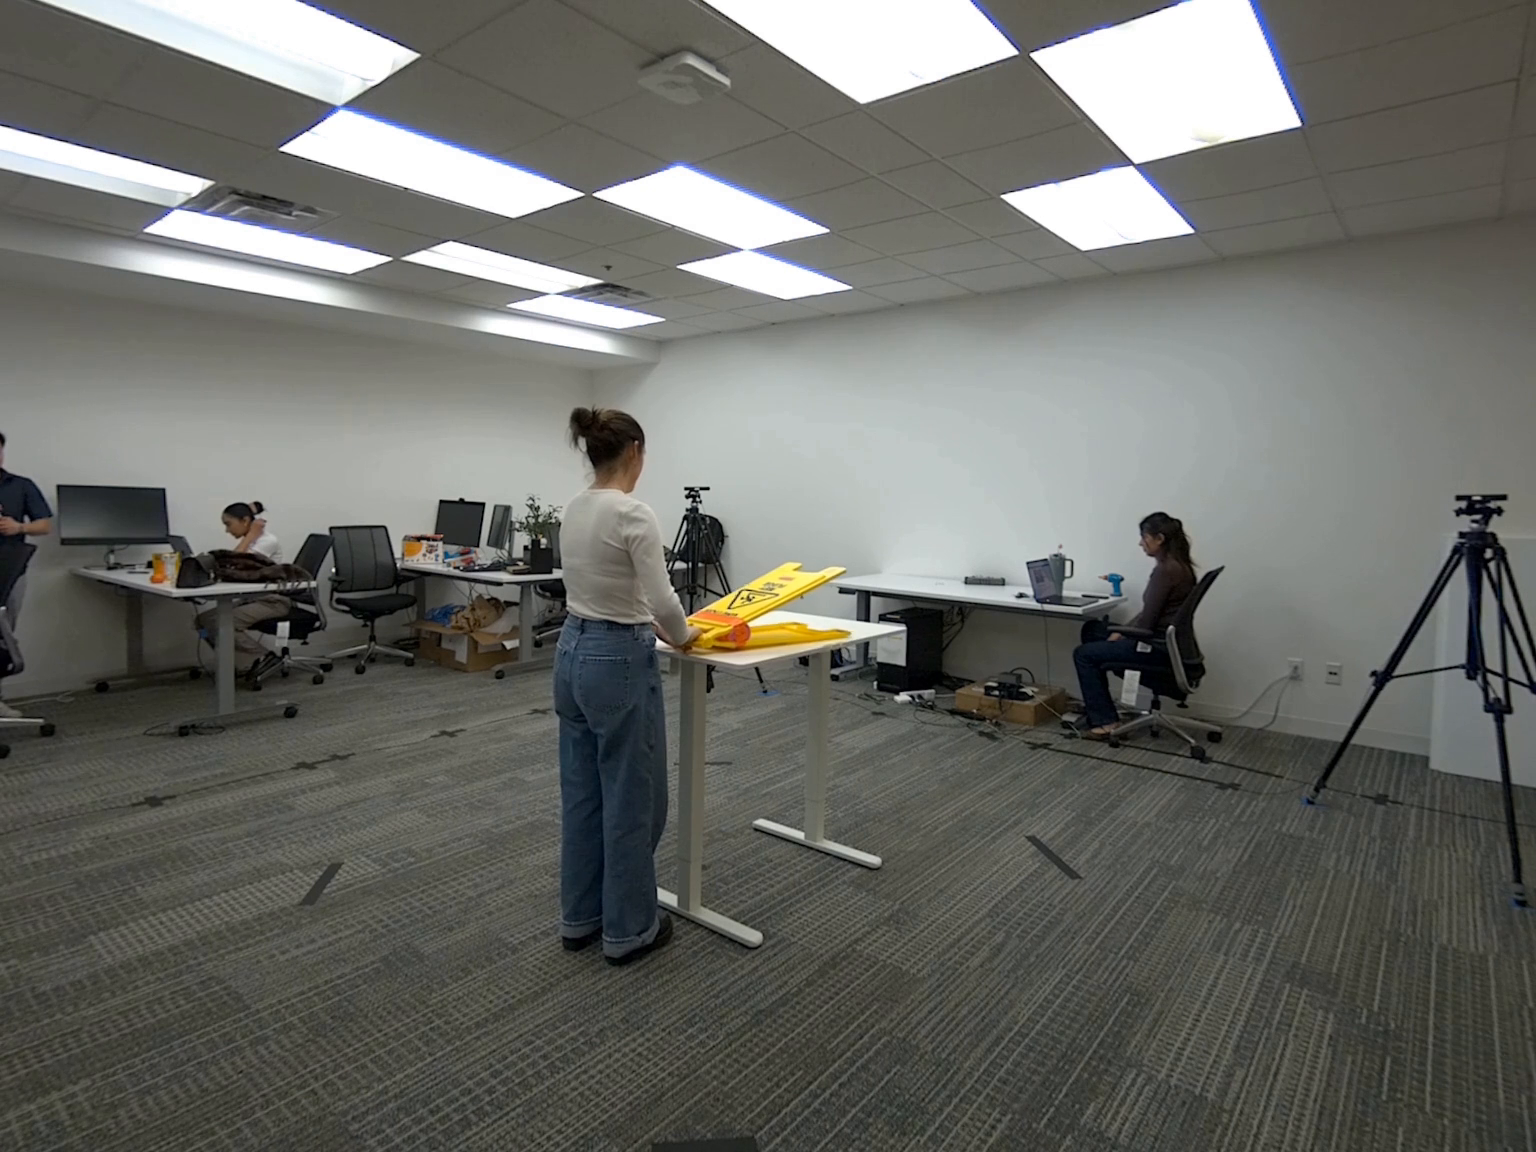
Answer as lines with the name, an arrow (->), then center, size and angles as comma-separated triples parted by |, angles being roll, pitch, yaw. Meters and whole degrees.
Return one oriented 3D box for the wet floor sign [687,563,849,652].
wet floor sign -> -0.058, 0.146, 2.834 | 0.630, 0.287, 0.292 | -14, 13, -42
